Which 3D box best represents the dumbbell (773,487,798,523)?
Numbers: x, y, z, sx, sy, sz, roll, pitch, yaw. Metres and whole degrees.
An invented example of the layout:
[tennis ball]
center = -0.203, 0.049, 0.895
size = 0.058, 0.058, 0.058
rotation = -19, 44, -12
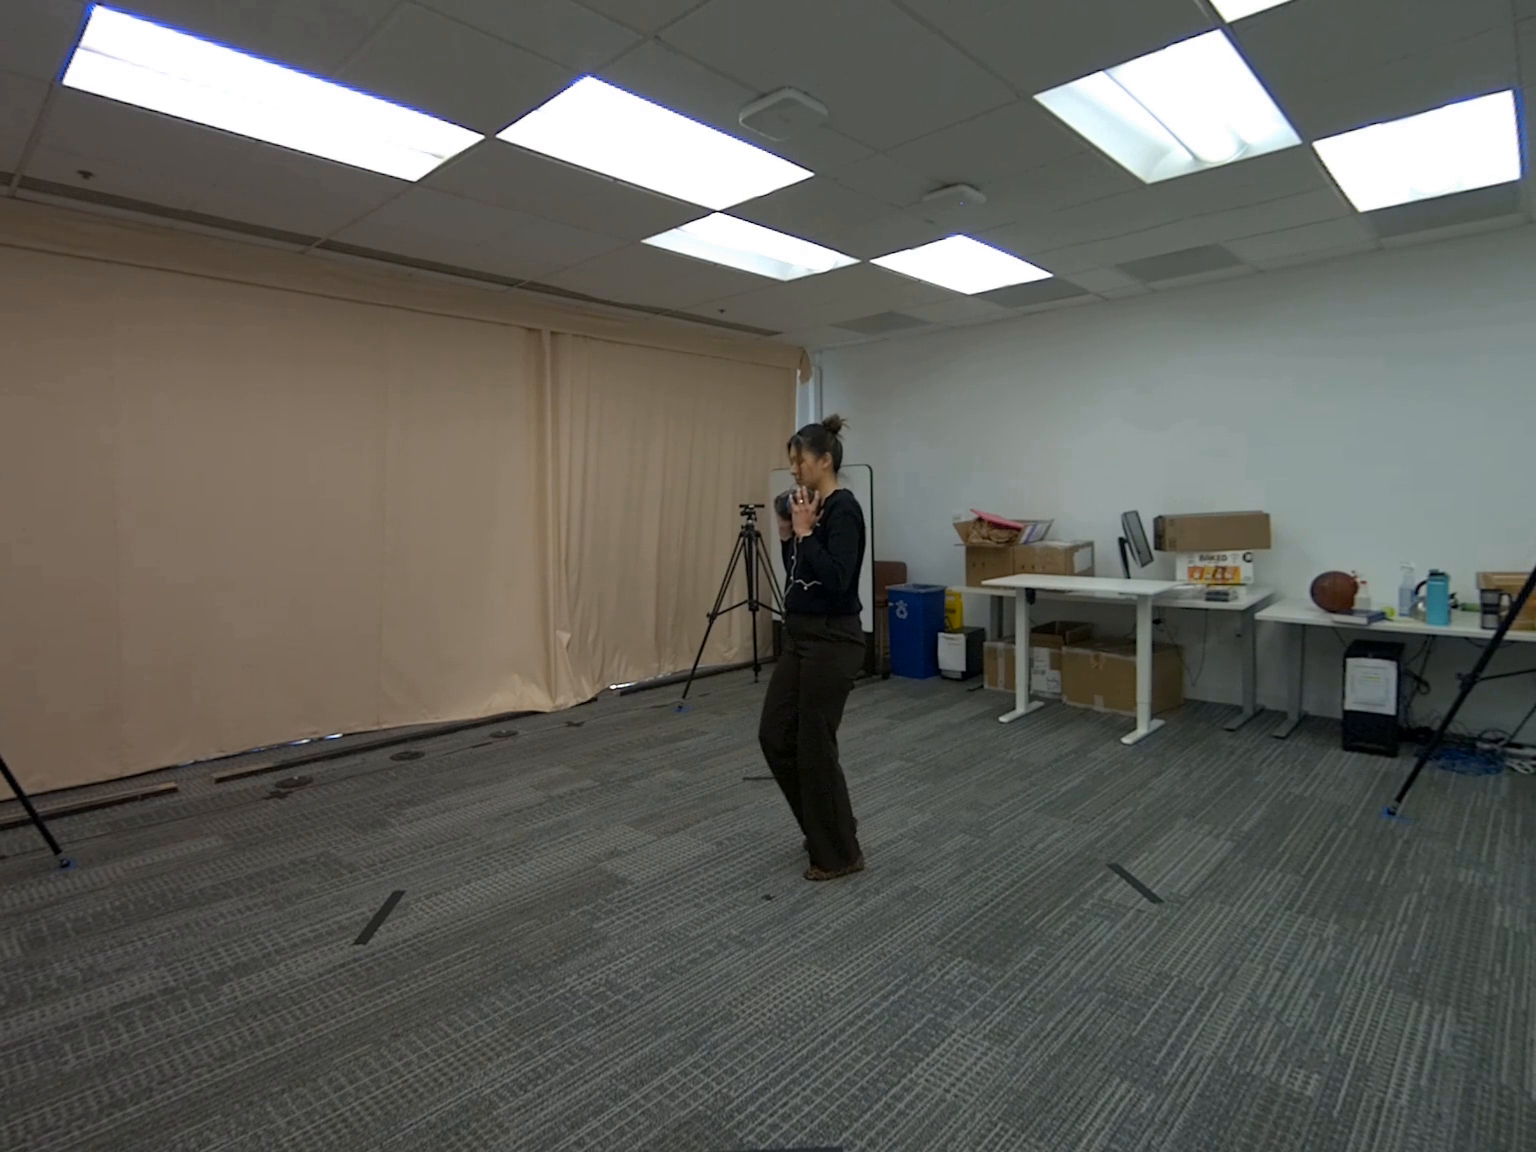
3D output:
[dumbbell]
center = 0.127, -0.261, 3.164
size = 0.121, 0.109, 0.297
rotation = 33, -1, -11
